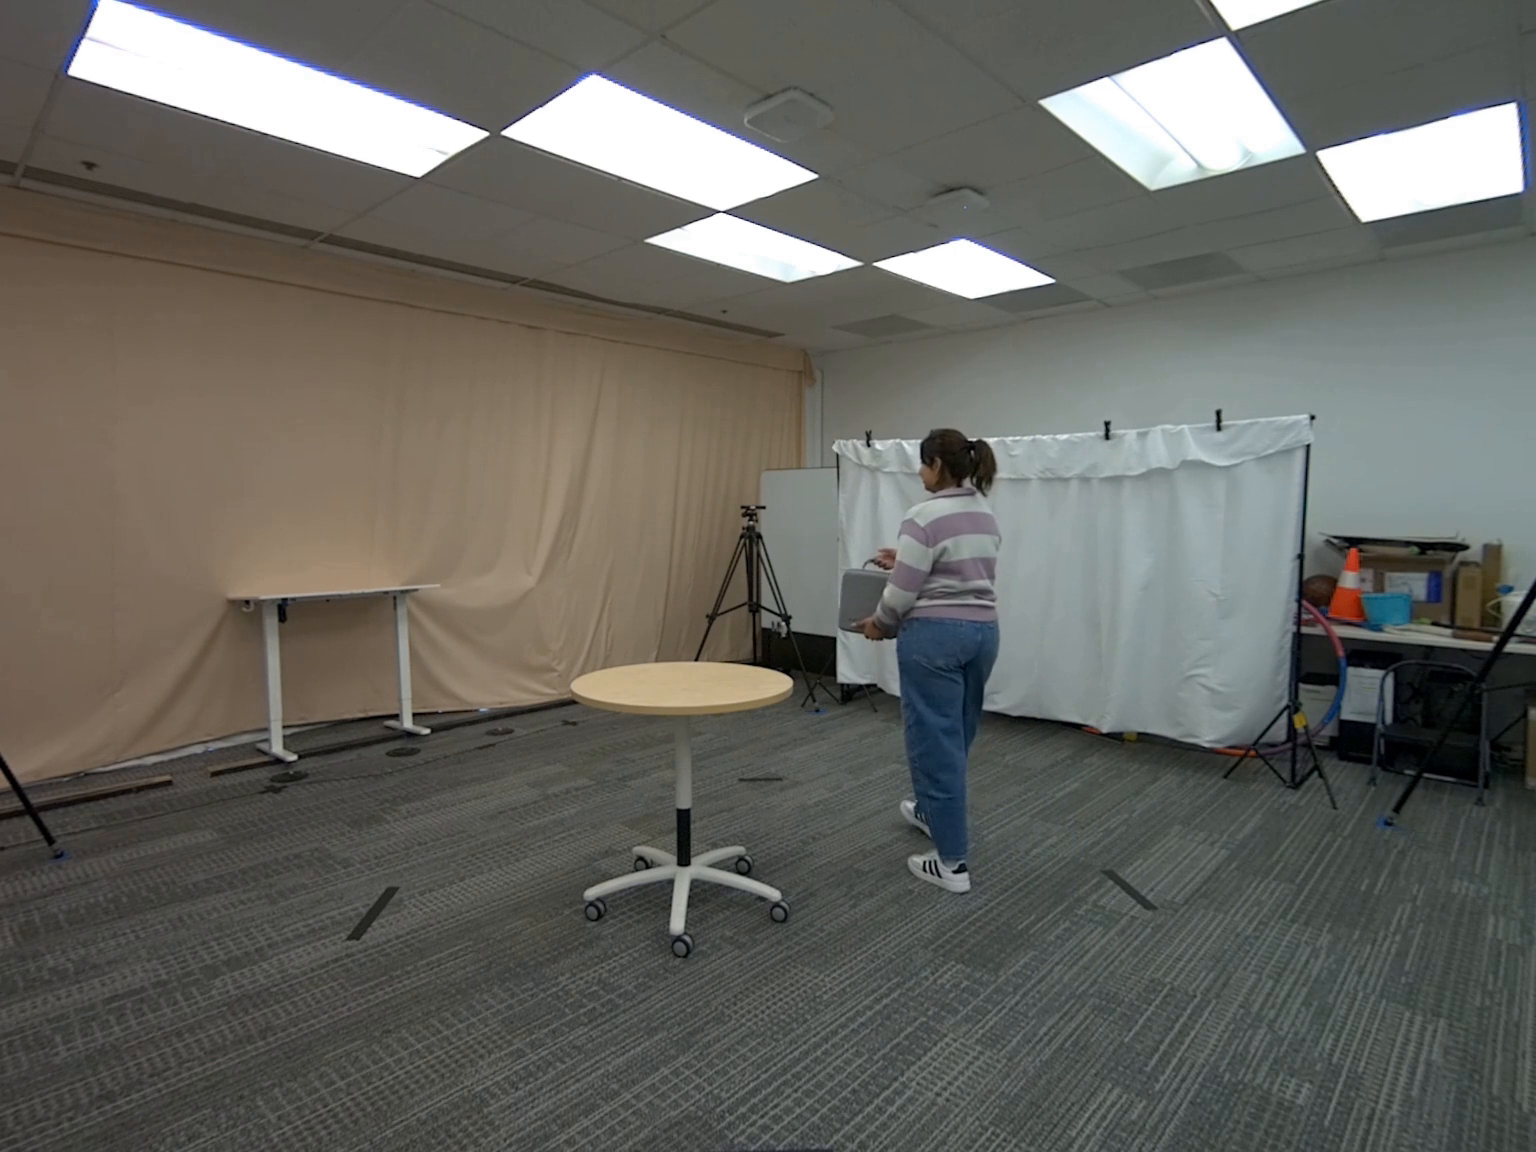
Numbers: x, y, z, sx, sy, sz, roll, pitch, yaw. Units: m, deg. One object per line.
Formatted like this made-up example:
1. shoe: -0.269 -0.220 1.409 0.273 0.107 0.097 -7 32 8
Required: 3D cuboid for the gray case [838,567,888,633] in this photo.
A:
1. gray case: 0.424 0.104 3.382 0.264 0.260 0.102 9 6 25
